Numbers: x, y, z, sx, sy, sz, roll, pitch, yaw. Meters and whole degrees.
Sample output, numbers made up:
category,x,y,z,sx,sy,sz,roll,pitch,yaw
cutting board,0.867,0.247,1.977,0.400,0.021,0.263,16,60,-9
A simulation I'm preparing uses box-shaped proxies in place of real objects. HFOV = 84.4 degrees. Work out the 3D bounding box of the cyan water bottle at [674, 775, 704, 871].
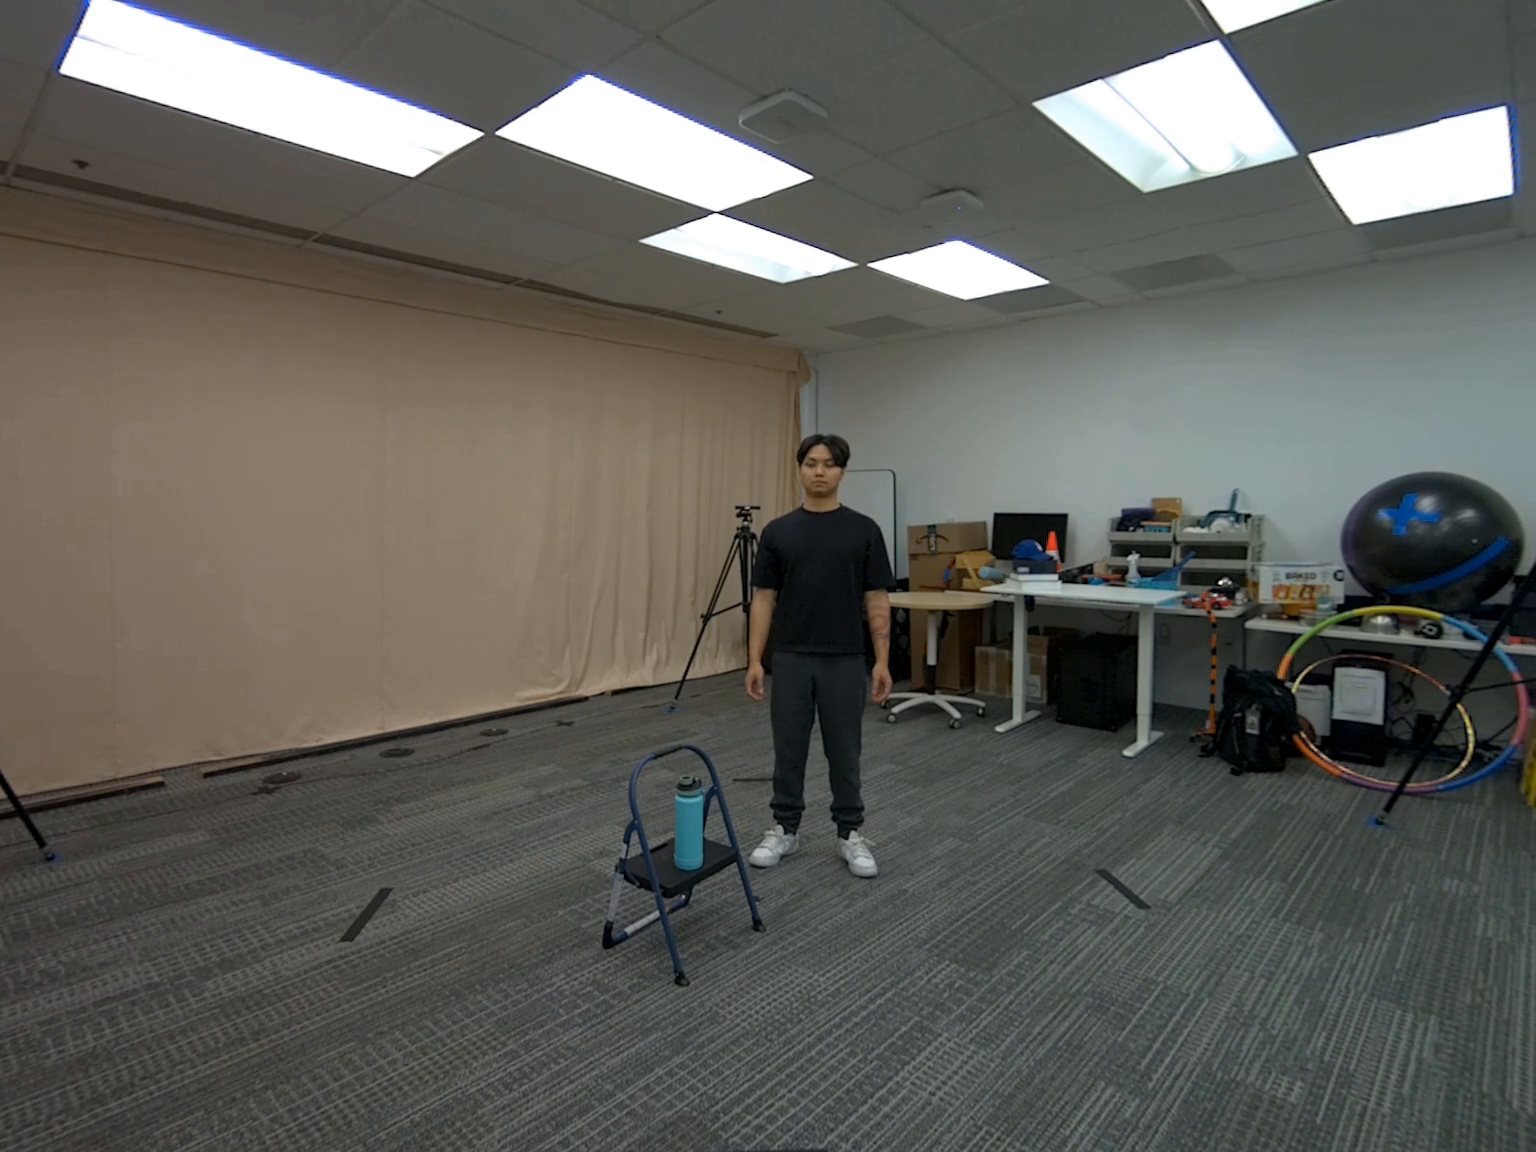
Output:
category,x,y,z,sx,sy,sz,roll,pitch,yaw
cyan water bottle,-0.253,0.776,2.649,0.092,0.282,0.093,0,4,-2
